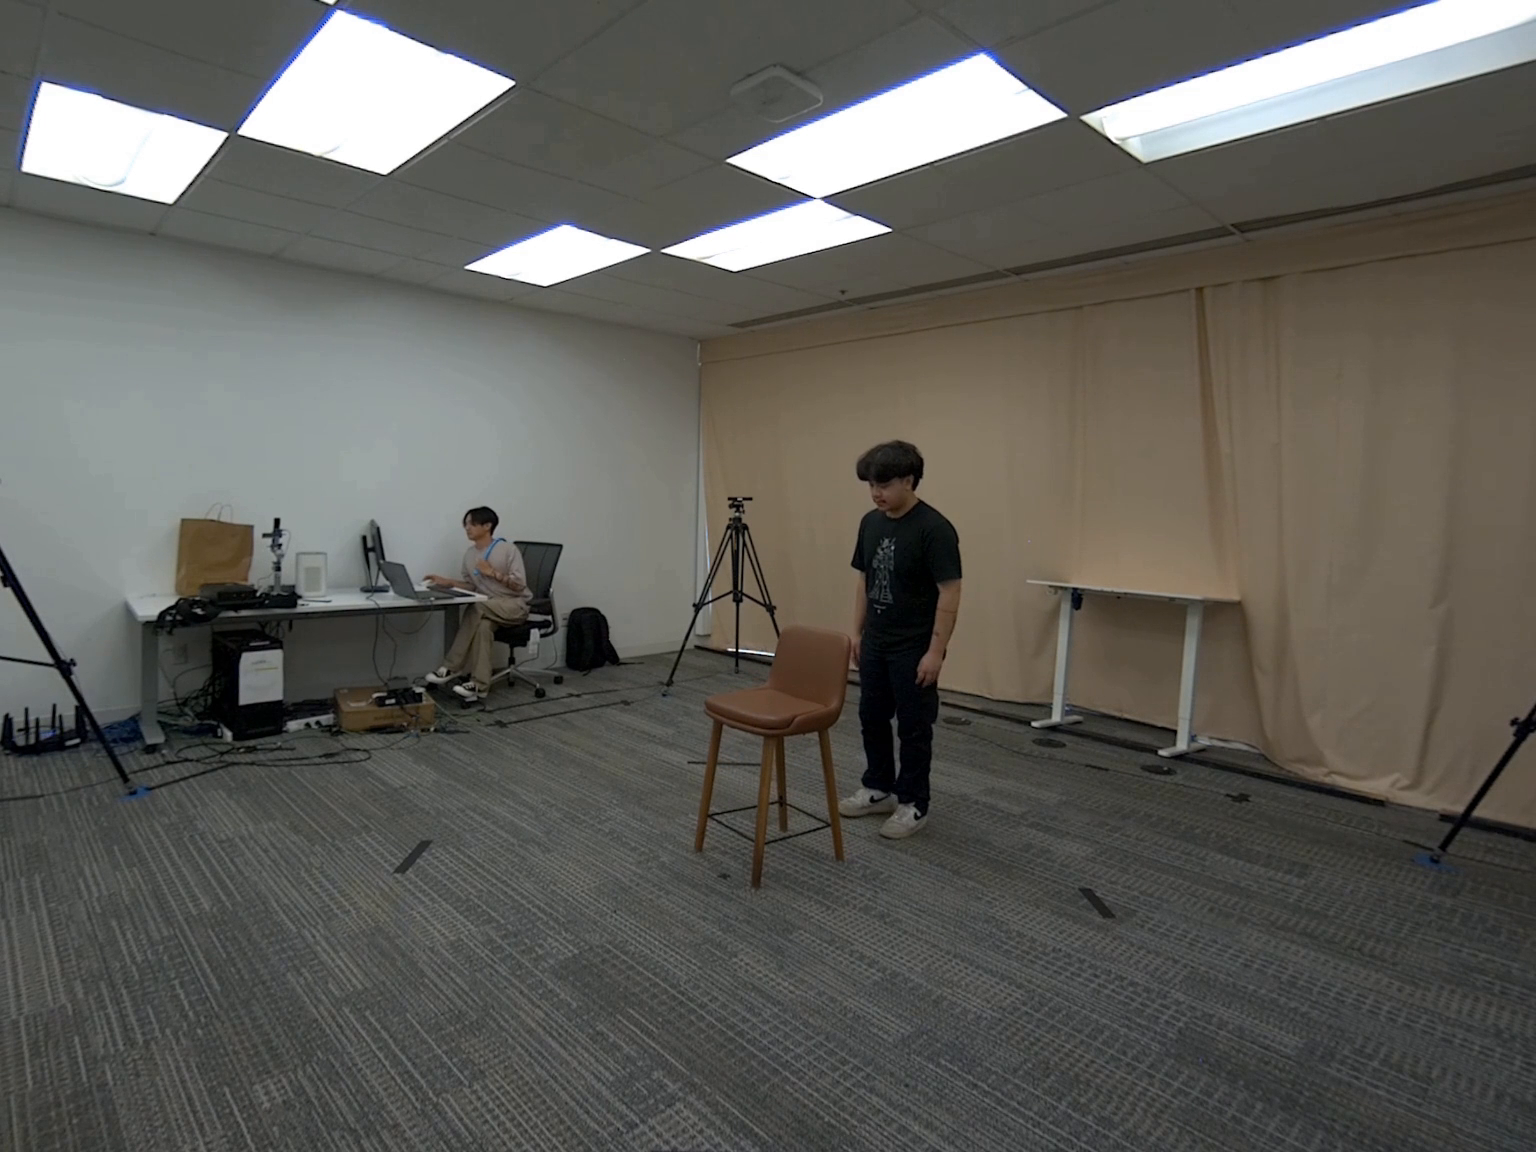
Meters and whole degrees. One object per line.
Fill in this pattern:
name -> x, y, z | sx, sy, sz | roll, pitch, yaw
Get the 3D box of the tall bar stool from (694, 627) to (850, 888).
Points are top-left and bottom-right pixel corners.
tall bar stool -> 0.018, 0.662, 3.275 | 0.457, 0.889, 0.468 | 2, 2, -37
